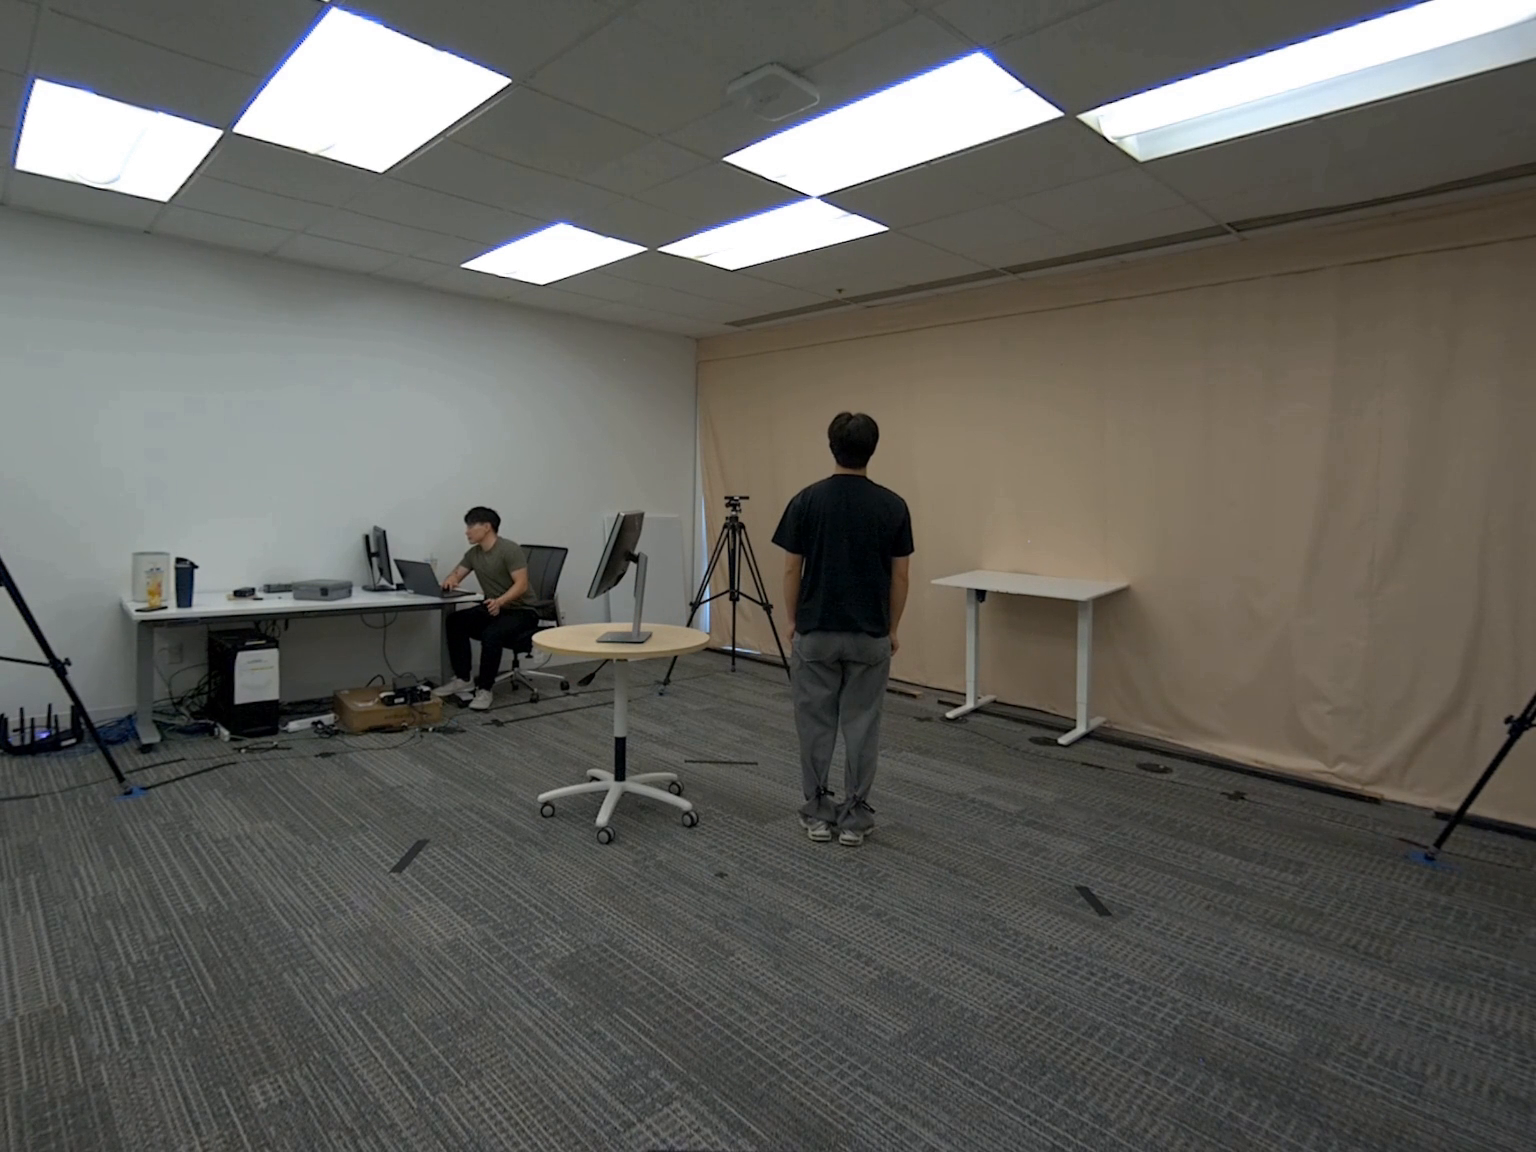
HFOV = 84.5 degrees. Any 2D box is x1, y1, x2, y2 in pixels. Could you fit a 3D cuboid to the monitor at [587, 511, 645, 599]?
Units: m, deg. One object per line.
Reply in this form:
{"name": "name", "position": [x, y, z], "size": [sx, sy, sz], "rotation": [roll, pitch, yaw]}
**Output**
{"name": "monitor", "position": [-0.614, 0.003, 3.589], "size": [0.223, 0.564, 0.561], "rotation": [2, 4, 4]}
